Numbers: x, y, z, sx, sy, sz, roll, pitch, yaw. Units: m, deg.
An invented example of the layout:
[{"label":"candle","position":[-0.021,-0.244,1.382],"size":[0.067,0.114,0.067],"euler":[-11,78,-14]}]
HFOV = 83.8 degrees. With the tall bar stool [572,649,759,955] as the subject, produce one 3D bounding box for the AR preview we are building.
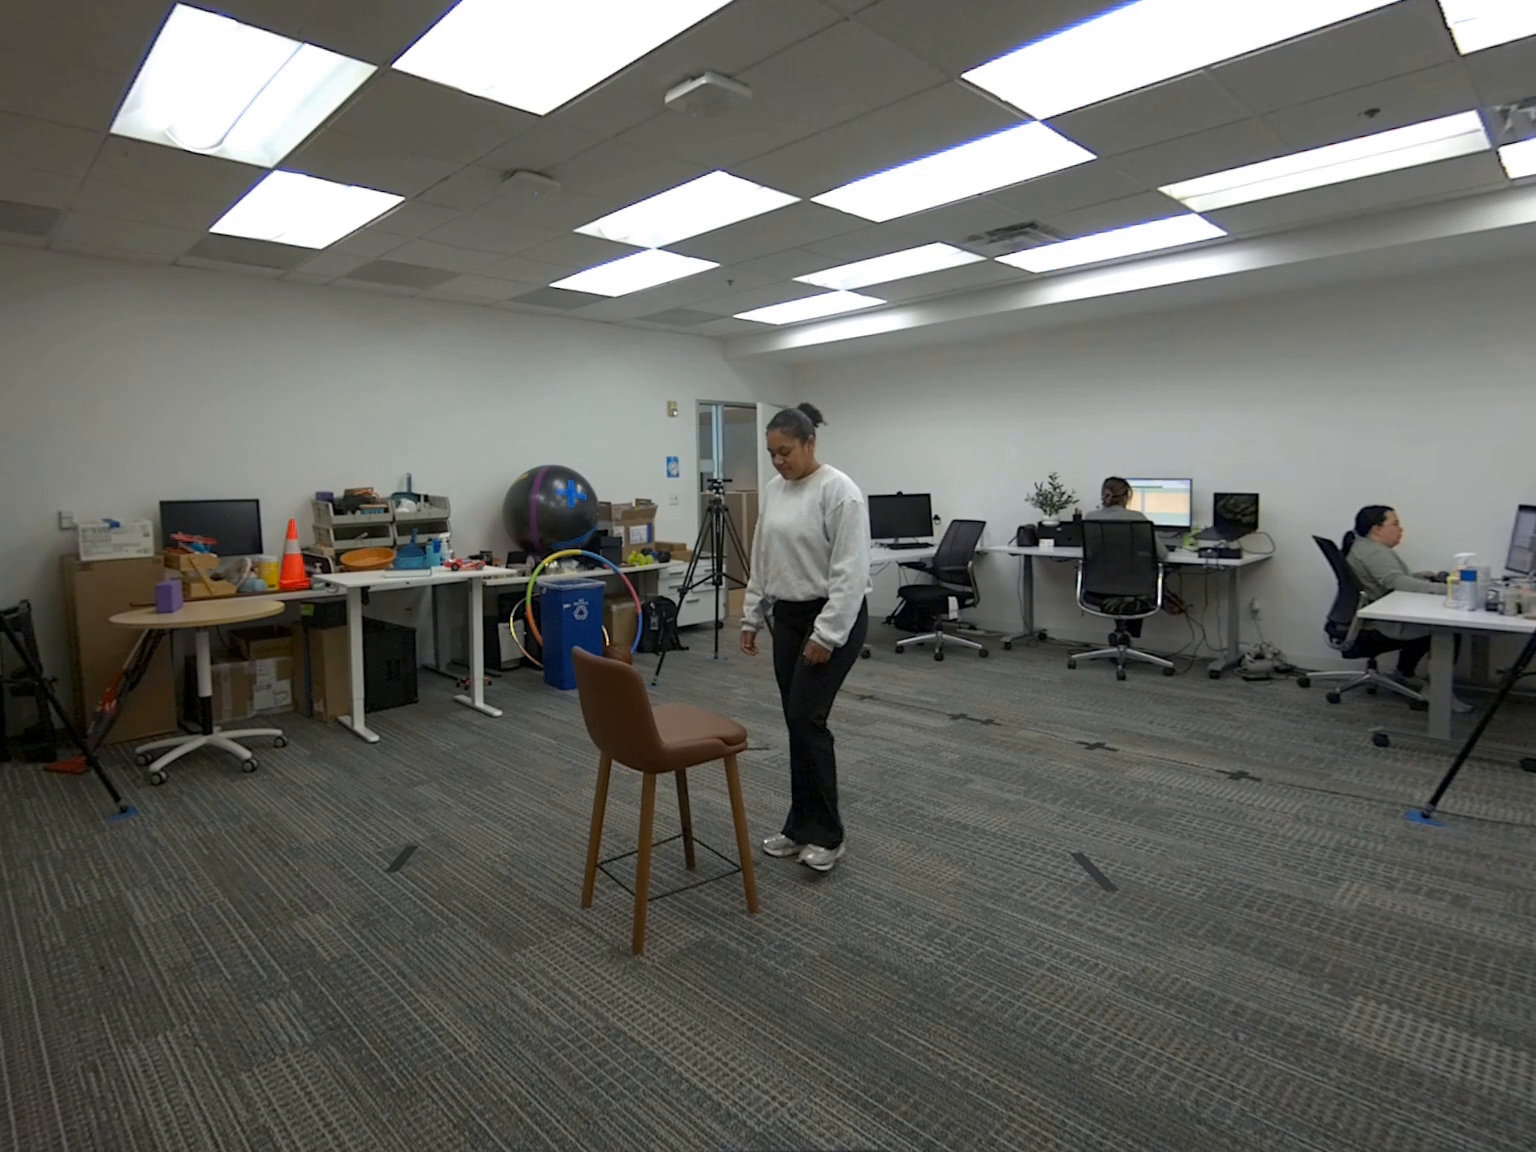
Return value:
[{"label":"tall bar stool","position":[-0.338,0.655,2.761],"size":[0.456,0.885,0.470],"euler":[-7,7,-36]}]
